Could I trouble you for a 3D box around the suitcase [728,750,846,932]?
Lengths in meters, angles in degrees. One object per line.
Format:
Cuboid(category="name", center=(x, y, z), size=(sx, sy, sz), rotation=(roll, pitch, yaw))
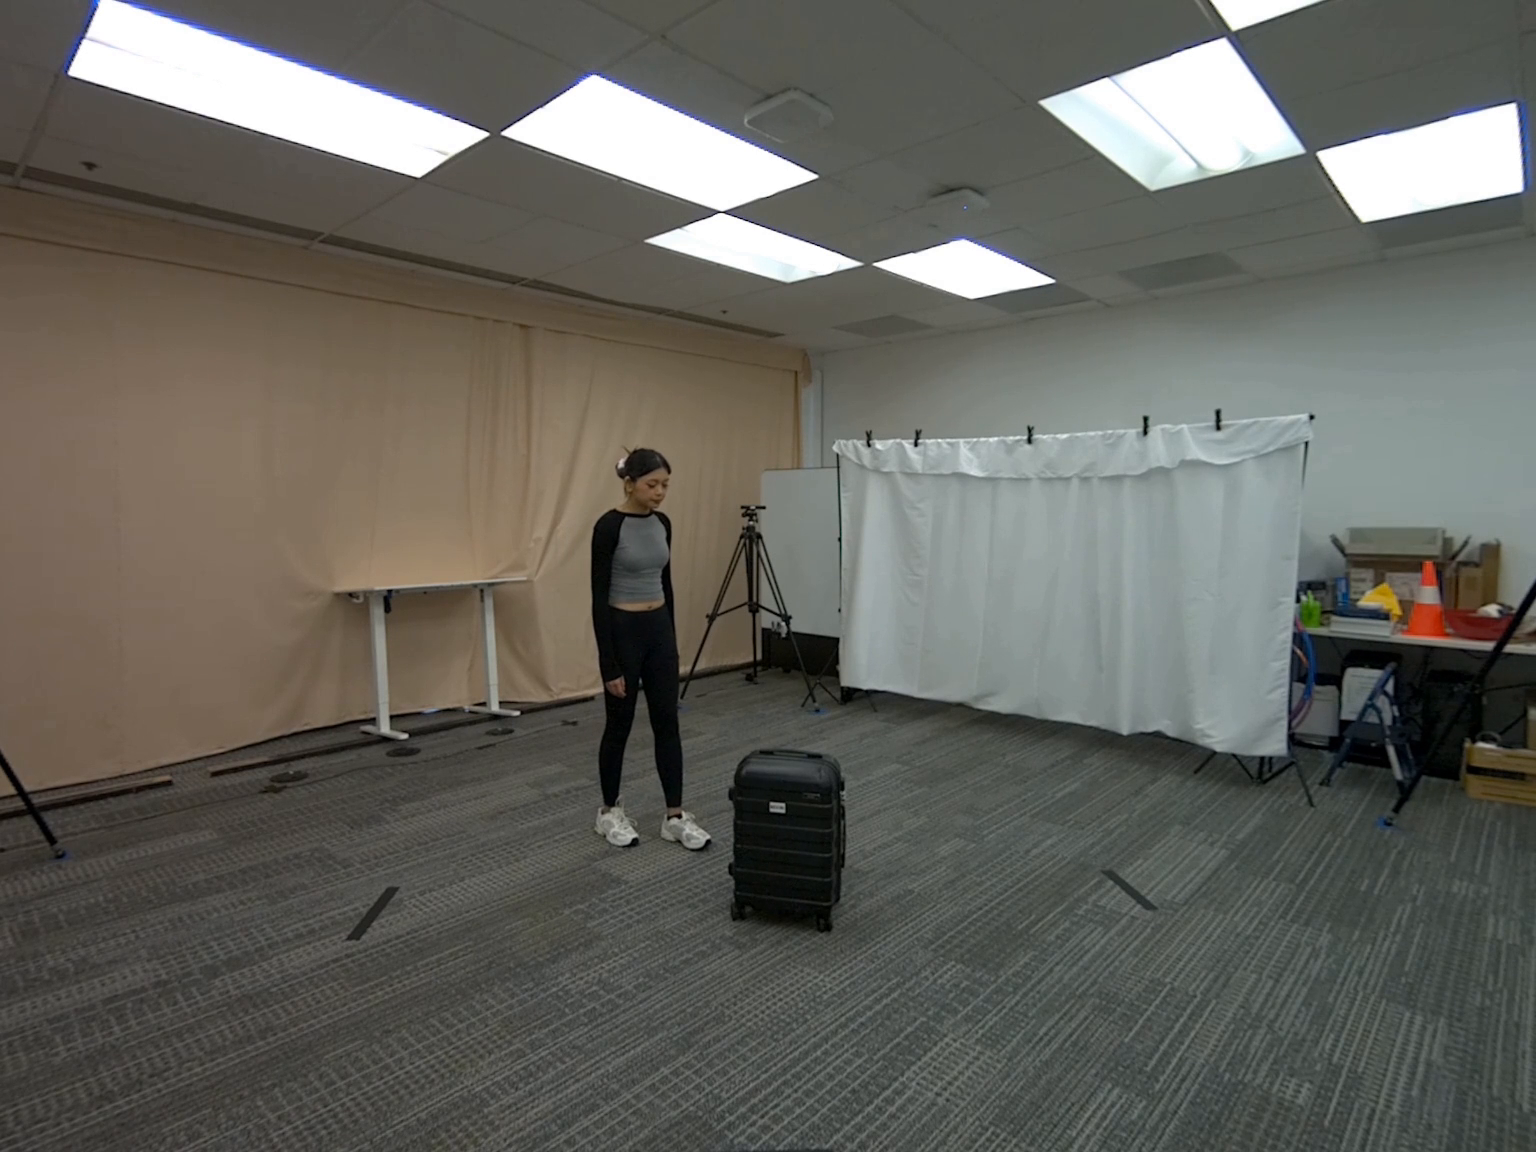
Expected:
Cuboid(category="suitcase", center=(0.074, 0.878, 2.864), size=(0.382, 0.547, 0.245), rotation=(2, 5, 16))
